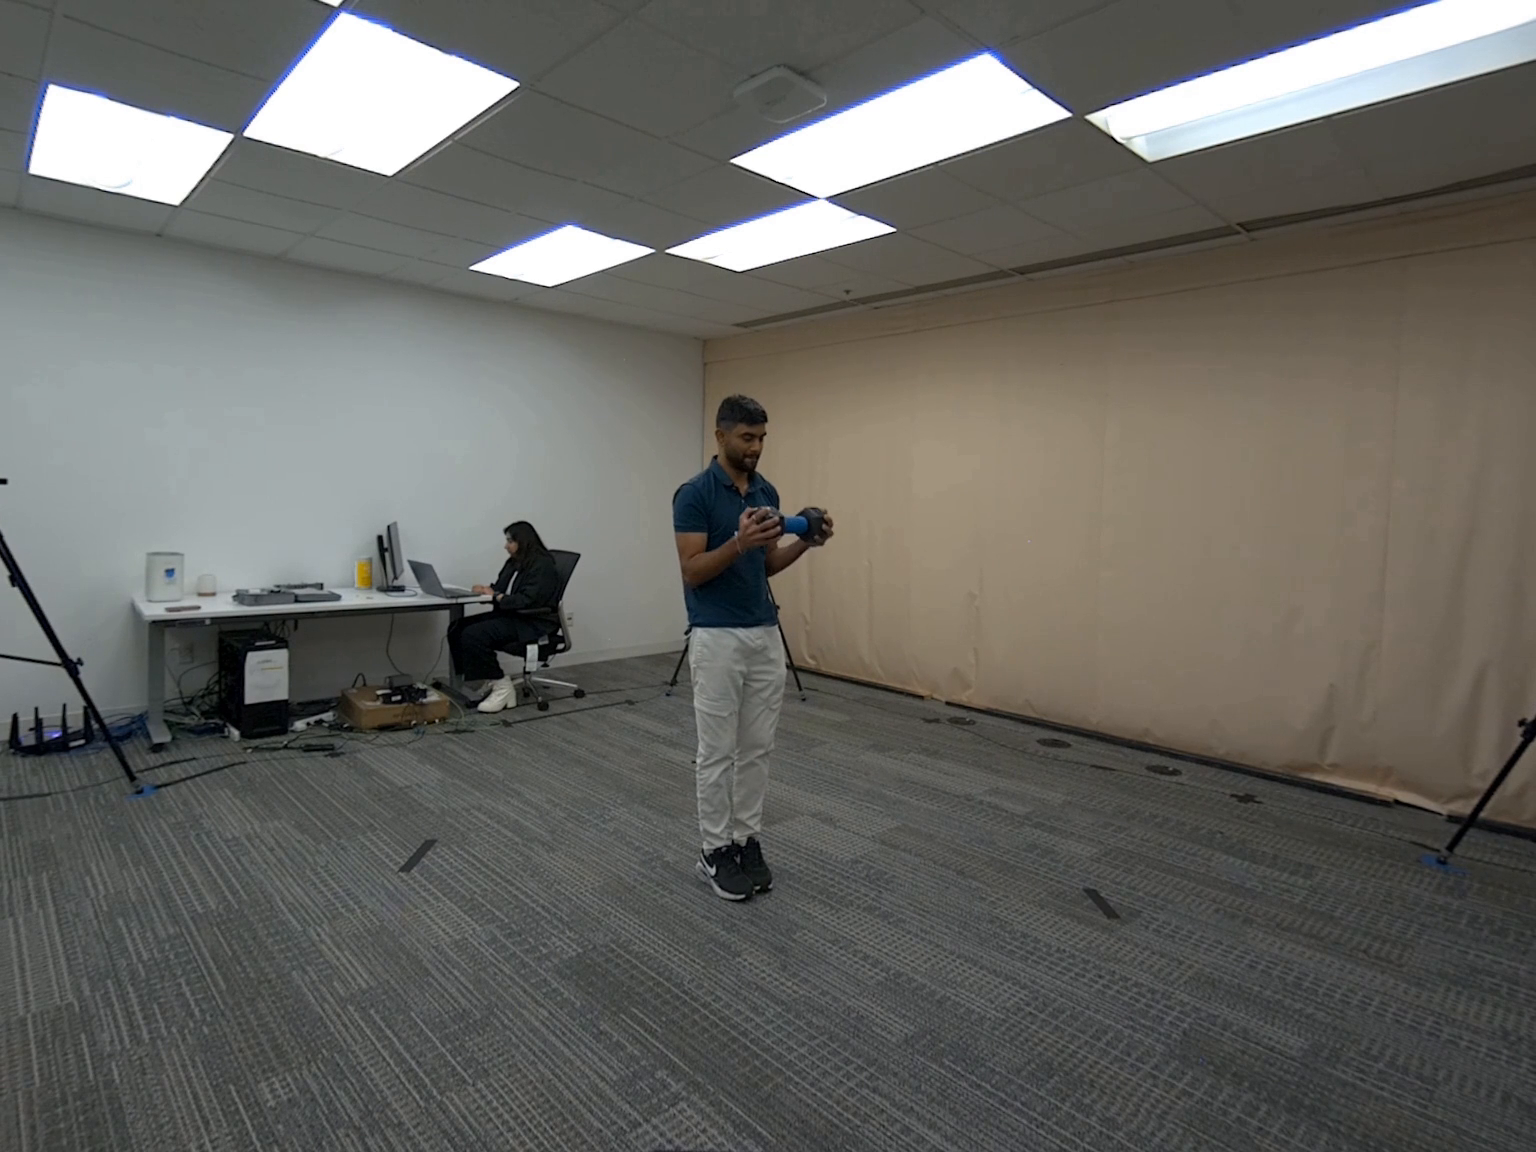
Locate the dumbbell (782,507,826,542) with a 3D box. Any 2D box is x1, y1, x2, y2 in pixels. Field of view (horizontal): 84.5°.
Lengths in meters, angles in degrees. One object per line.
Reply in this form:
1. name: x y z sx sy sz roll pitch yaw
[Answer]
1. dumbbell: 0.043 -0.168 2.858 0.287 0.107 0.127 -3 40 -36
